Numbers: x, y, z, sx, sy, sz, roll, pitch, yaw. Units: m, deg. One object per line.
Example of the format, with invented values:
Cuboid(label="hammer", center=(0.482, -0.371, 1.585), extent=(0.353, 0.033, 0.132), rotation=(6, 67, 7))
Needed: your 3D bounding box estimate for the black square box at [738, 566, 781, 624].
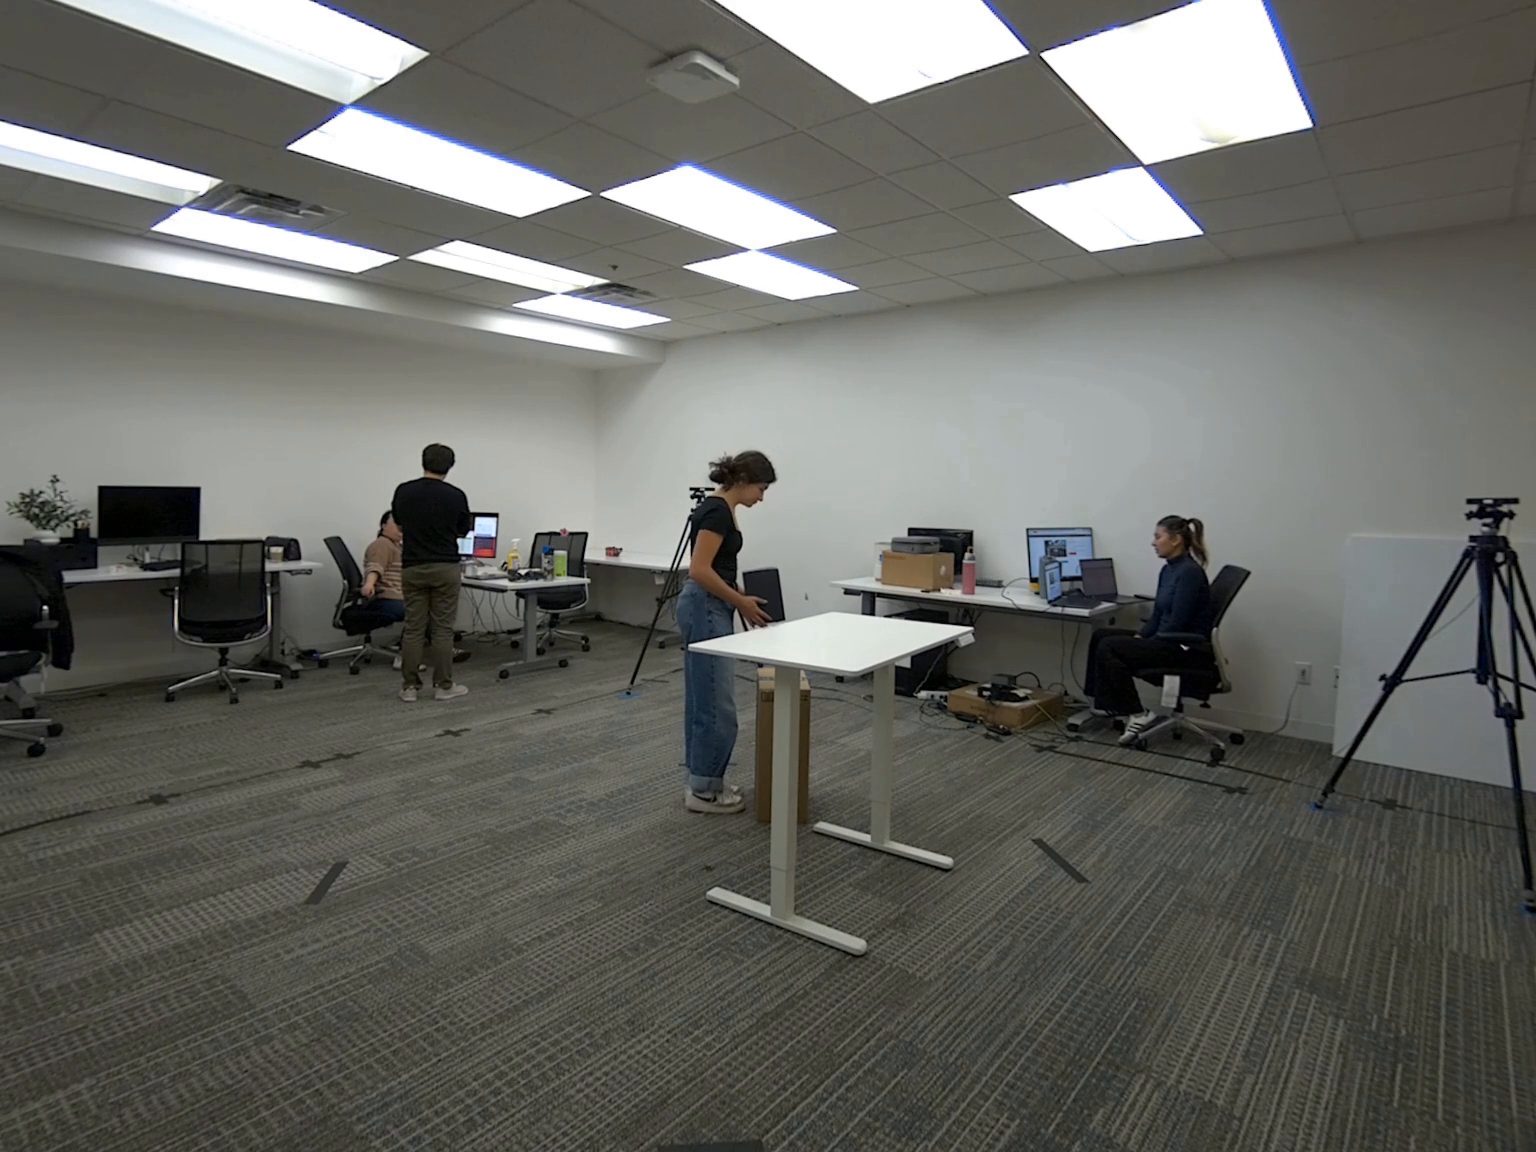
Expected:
Cuboid(label="black square box", center=(-0.037, 0.079, 3.746), extent=(0.157, 0.228, 0.216), rotation=(-3, 1, 5))
